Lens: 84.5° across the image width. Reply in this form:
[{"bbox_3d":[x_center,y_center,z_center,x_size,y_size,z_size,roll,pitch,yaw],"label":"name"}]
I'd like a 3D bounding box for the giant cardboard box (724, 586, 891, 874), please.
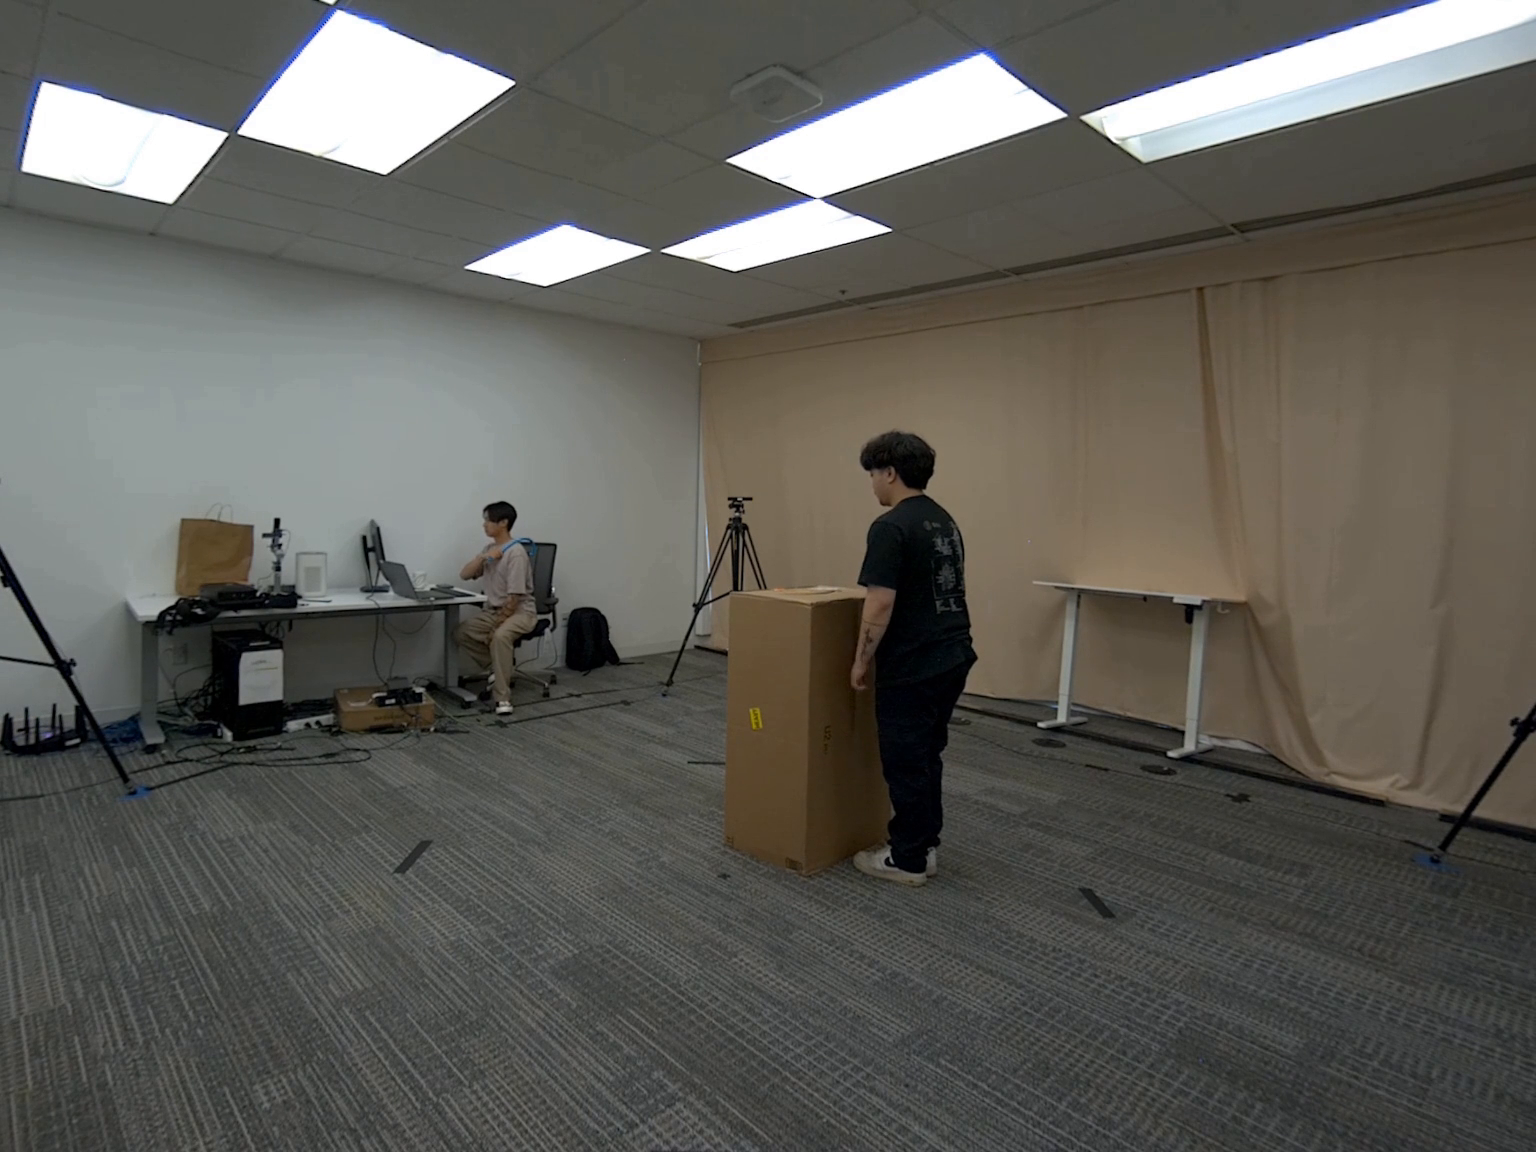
[{"bbox_3d":[0.170,0.576,3.437,0.458,1.025,0.570,3,4,44],"label":"giant cardboard box"}]
